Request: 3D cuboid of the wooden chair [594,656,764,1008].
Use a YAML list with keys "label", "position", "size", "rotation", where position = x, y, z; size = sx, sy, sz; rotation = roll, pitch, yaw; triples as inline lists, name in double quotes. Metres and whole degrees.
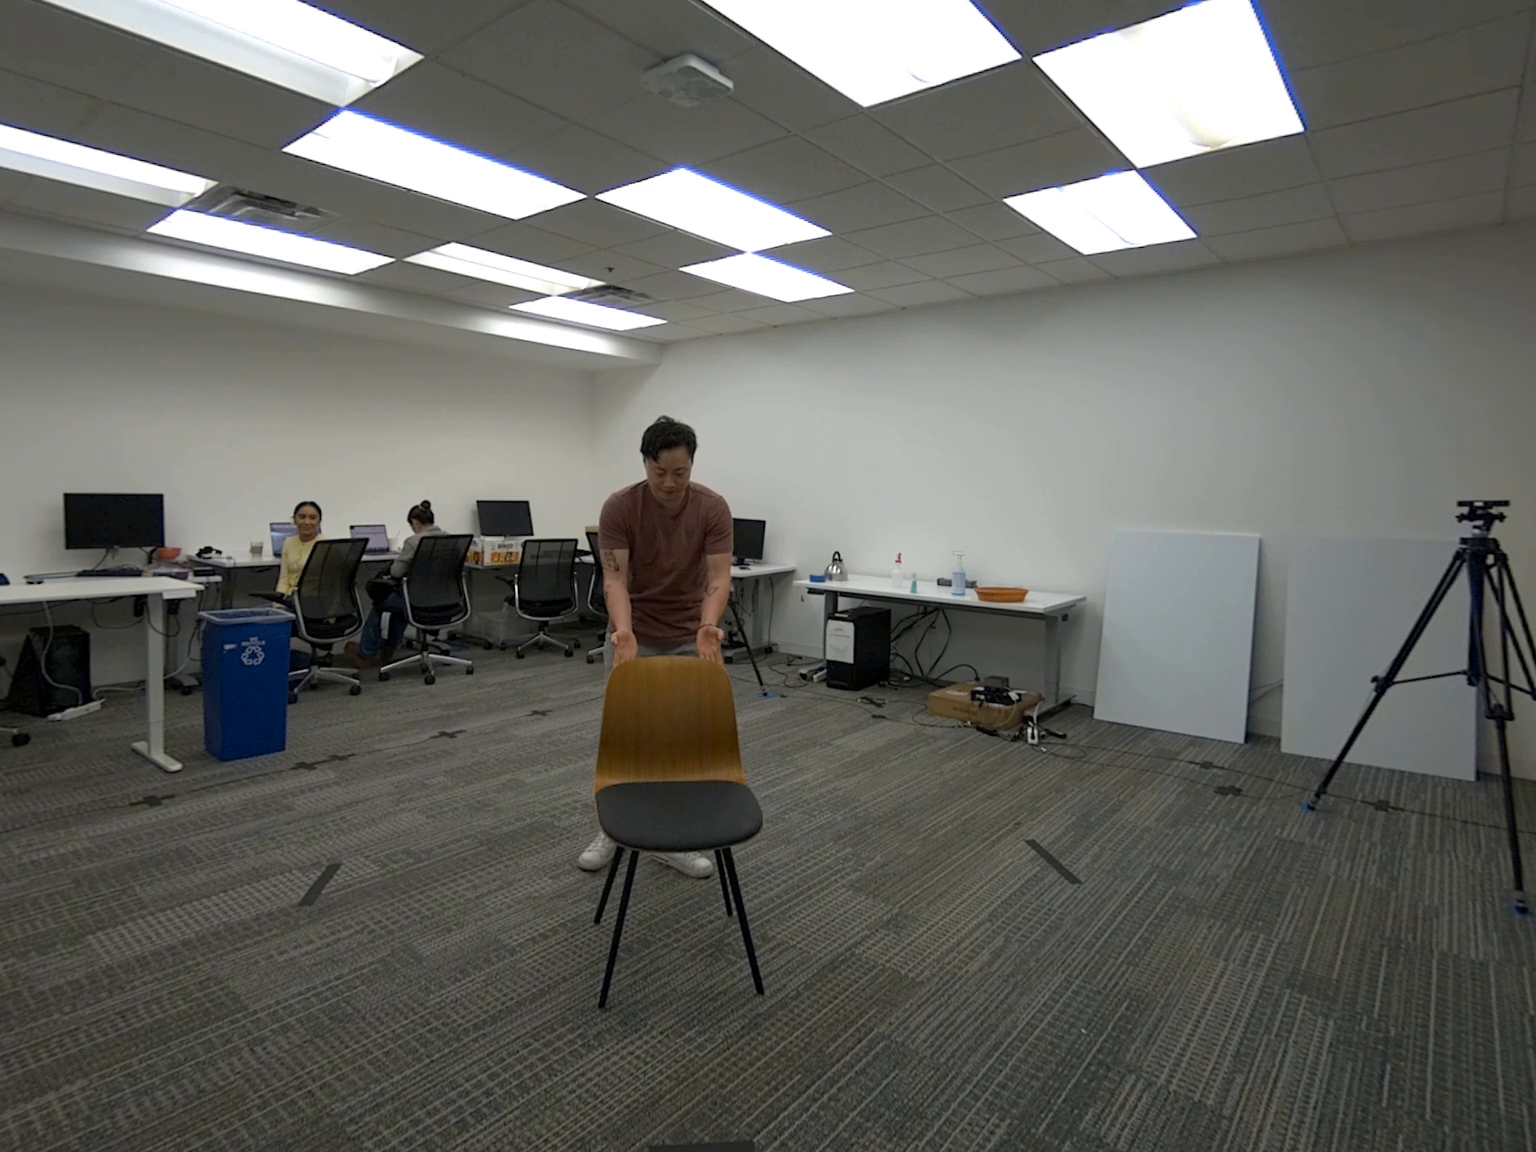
- label: "wooden chair"
  position: [-0.274, 0.705, 2.491]
  size: [0.472, 0.878, 0.529]
  rotation: [1, -1, -12]
